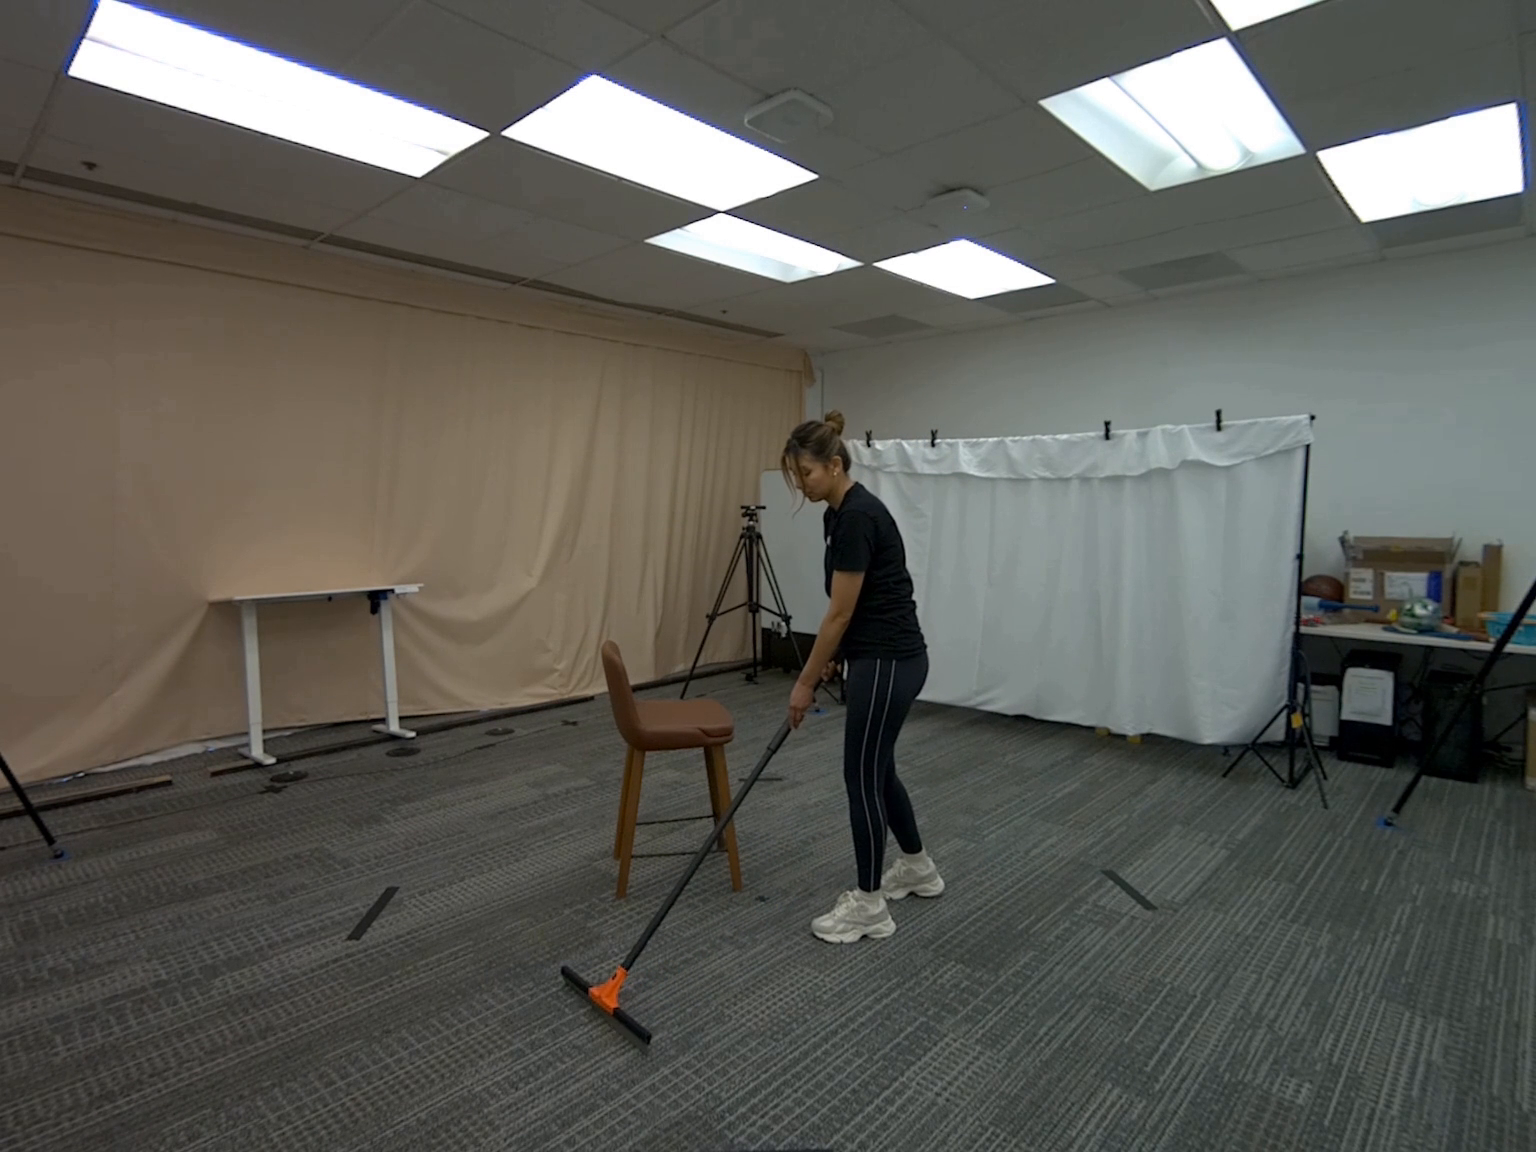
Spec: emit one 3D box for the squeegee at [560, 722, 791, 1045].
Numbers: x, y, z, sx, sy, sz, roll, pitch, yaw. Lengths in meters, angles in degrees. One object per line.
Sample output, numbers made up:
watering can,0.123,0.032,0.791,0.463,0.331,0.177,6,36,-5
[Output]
squeegee,-0.042,0.612,2.634,0.452,0.051,1.531,4,49,48
